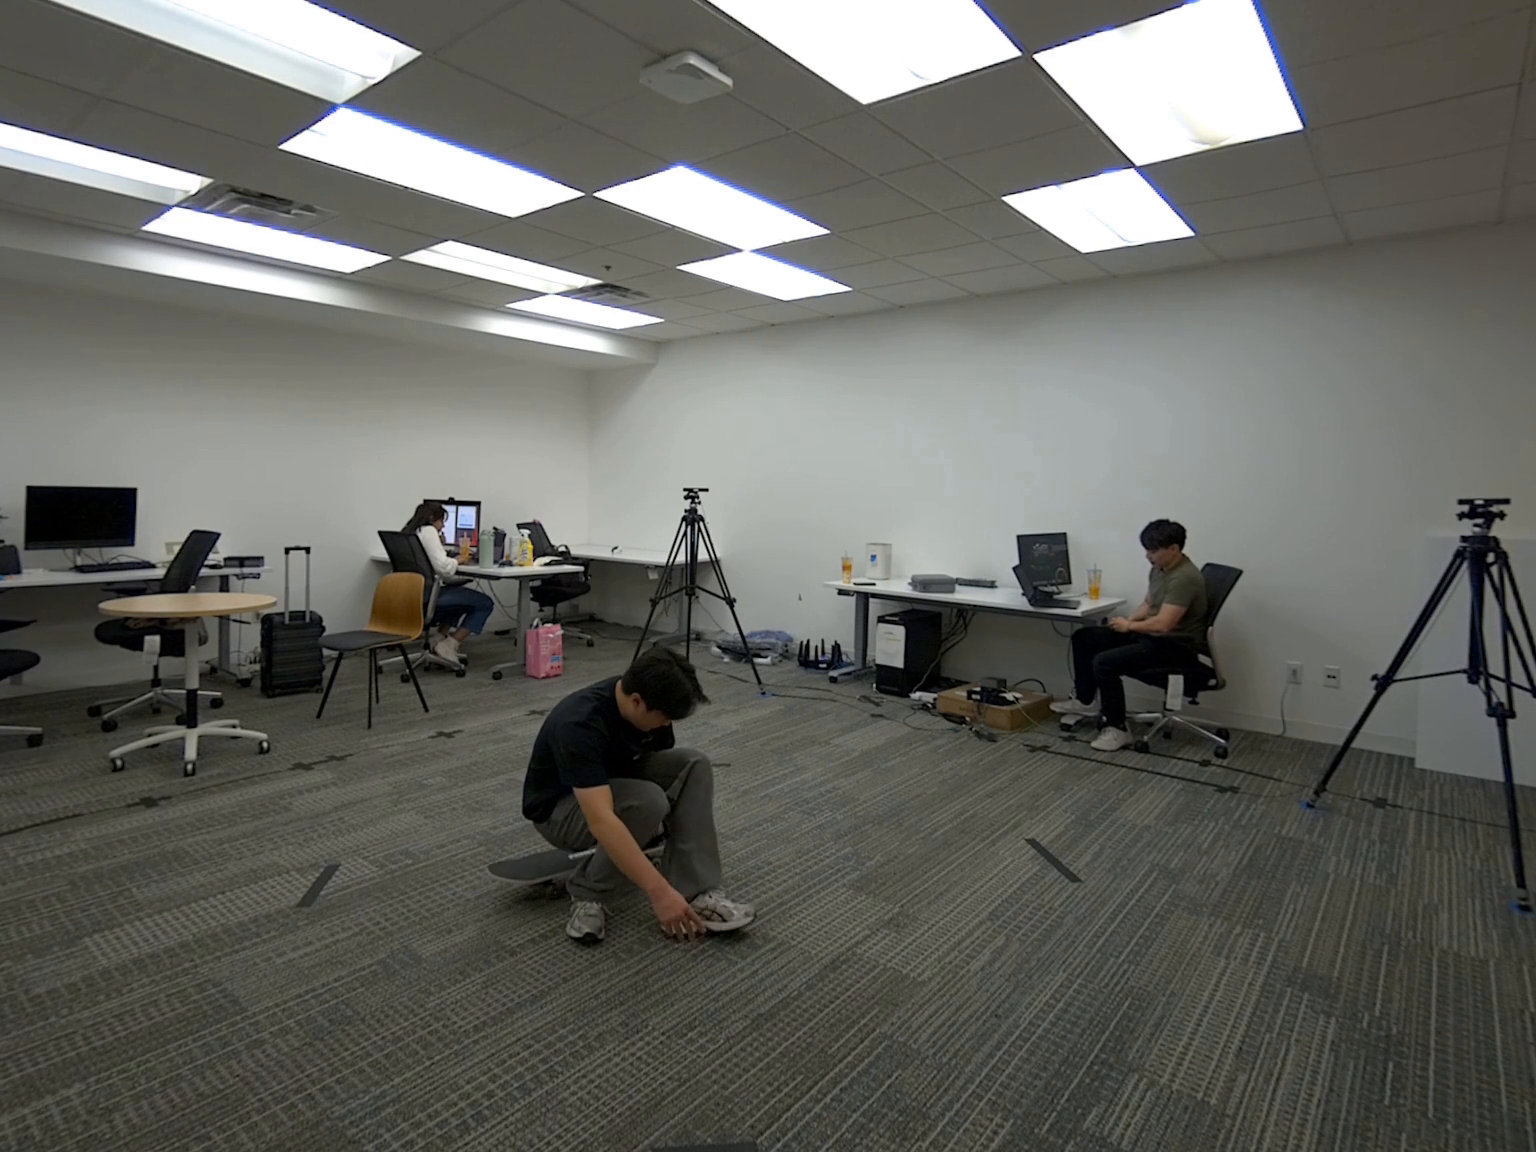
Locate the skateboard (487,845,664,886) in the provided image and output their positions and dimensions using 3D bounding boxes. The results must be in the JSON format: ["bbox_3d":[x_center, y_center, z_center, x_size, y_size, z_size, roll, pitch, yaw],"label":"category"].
[{"bbox_3d":[-0.620,1.009,3.036,0.762,0.110,0.200,-3,5,-37],"label":"skateboard"}]
